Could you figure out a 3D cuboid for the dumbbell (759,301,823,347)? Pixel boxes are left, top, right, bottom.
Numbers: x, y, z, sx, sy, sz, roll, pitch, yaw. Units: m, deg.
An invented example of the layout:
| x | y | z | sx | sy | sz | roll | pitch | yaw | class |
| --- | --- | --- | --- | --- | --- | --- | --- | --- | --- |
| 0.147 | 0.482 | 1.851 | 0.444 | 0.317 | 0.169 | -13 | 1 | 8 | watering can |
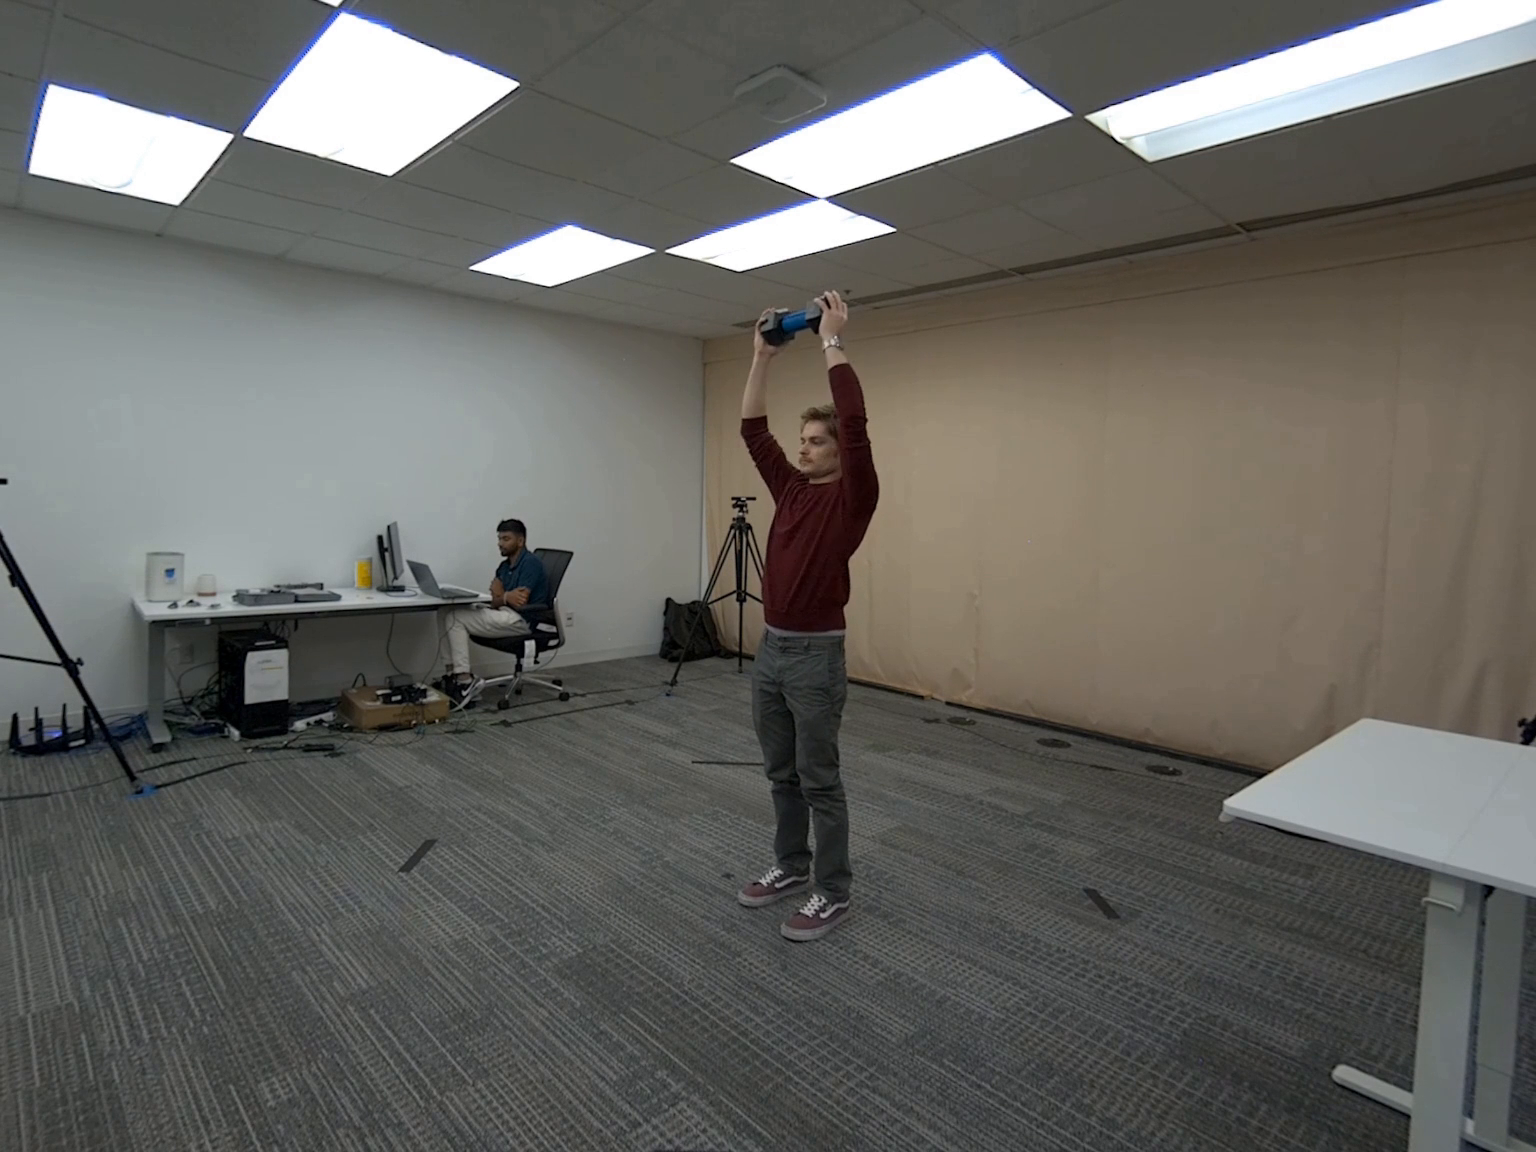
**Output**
| x | y | z | sx | sy | sz | roll | pitch | yaw | class |
| --- | --- | --- | --- | --- | --- | --- | --- | --- | --- |
| 0.101 | -0.826 | 2.769 | 0.106 | 0.123 | 0.300 | 14 | -8 | -39 | dumbbell |
